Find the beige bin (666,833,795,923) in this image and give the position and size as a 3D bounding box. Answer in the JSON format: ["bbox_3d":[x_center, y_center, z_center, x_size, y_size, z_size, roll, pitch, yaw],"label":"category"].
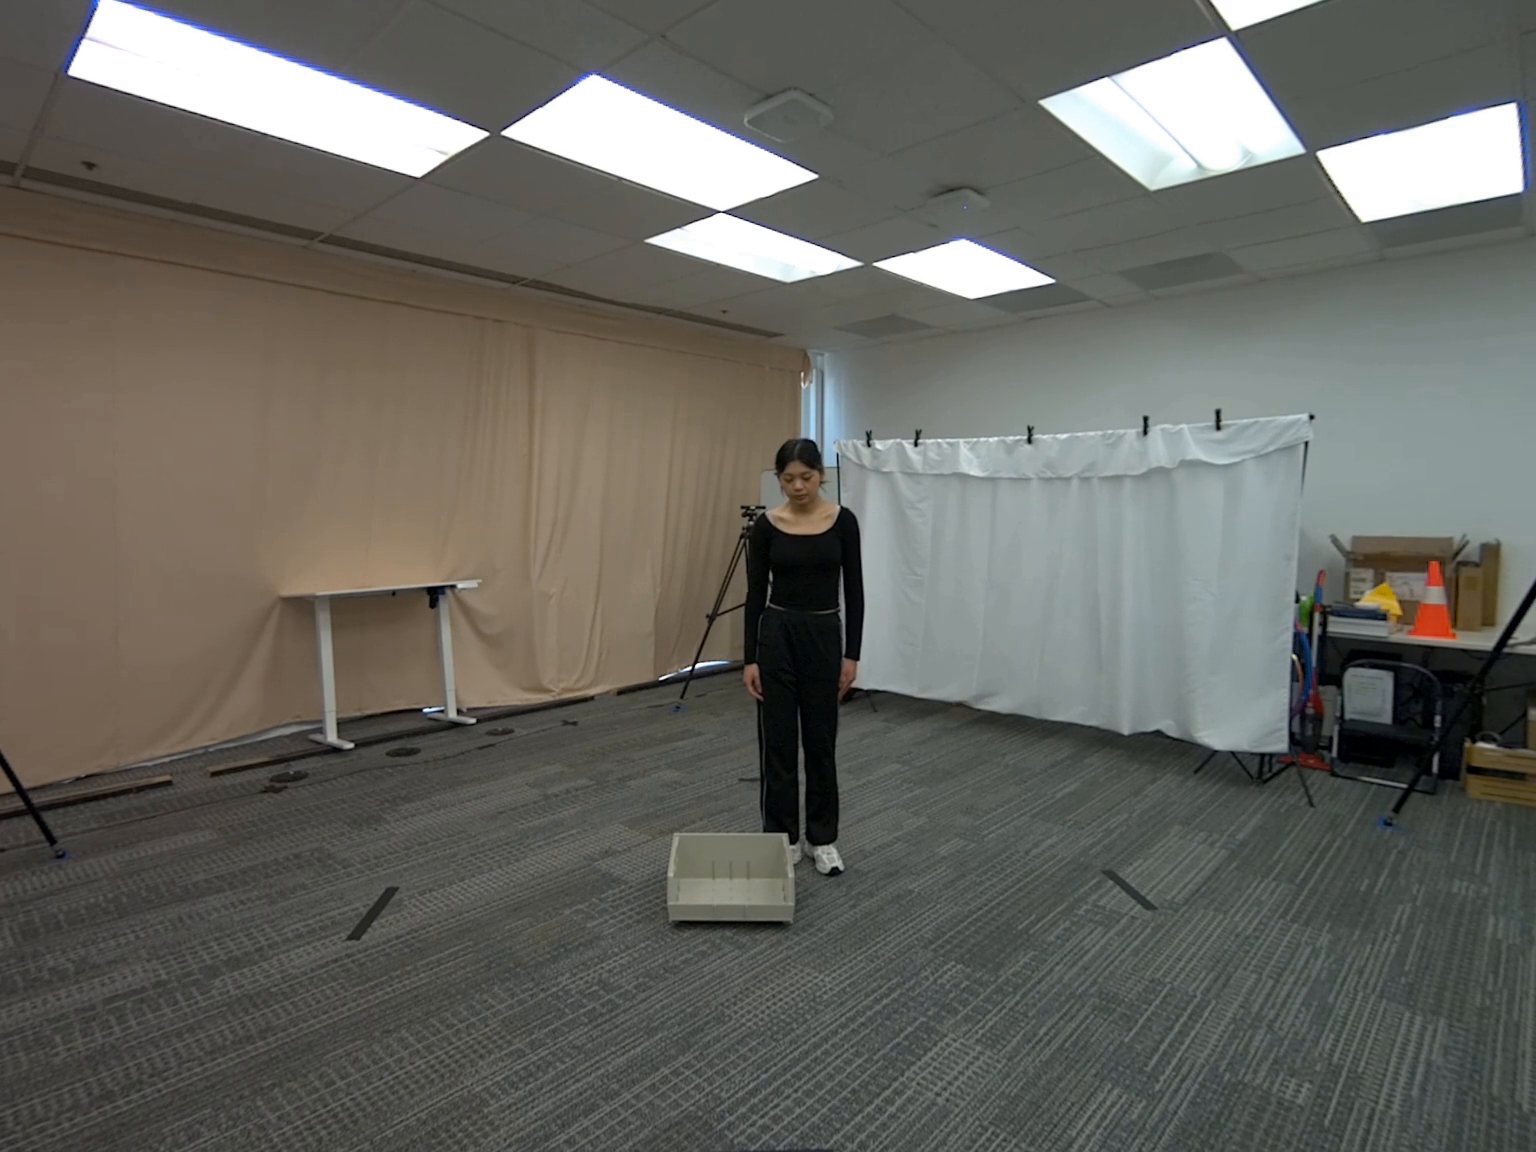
[{"bbox_3d":[-0.130,1.064,2.933,0.422,0.188,0.378,-1,4,-1],"label":"beige bin"}]
